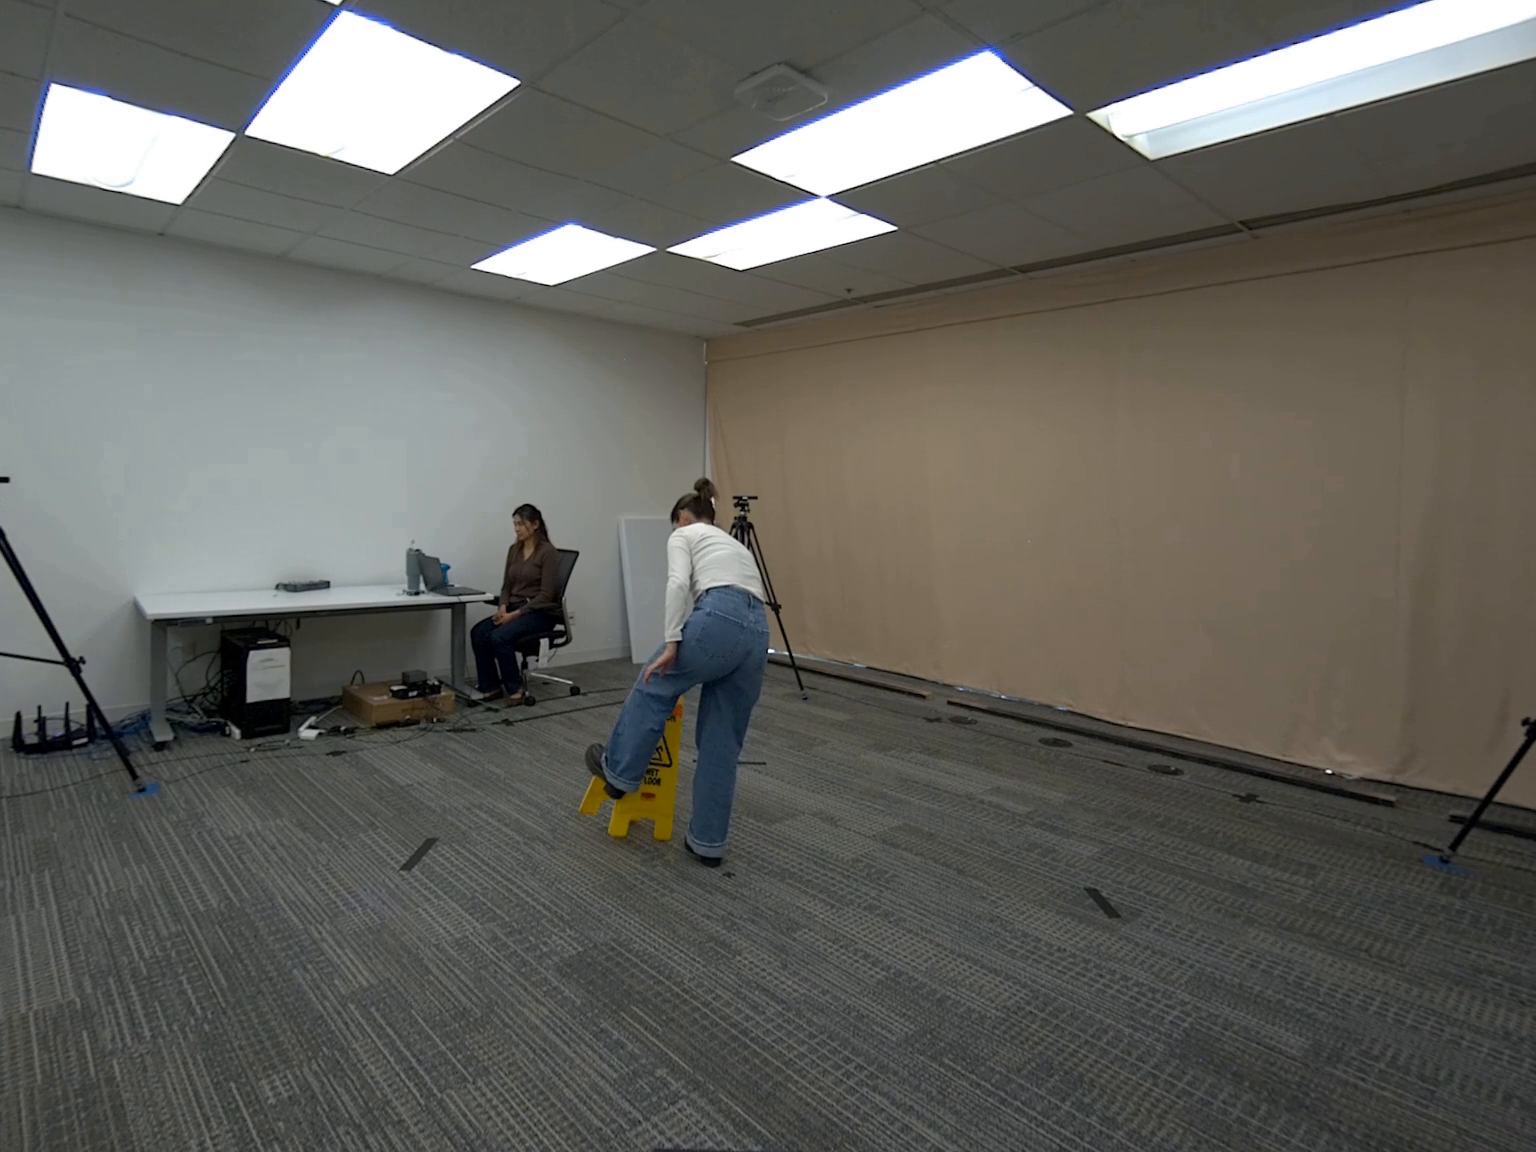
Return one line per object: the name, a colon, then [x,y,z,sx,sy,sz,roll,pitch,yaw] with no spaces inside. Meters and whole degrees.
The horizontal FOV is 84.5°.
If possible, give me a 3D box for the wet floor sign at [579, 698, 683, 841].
wet floor sign: [-0.517,0.719,3.475,0.274,0.648,0.297,18,-8,-36]
